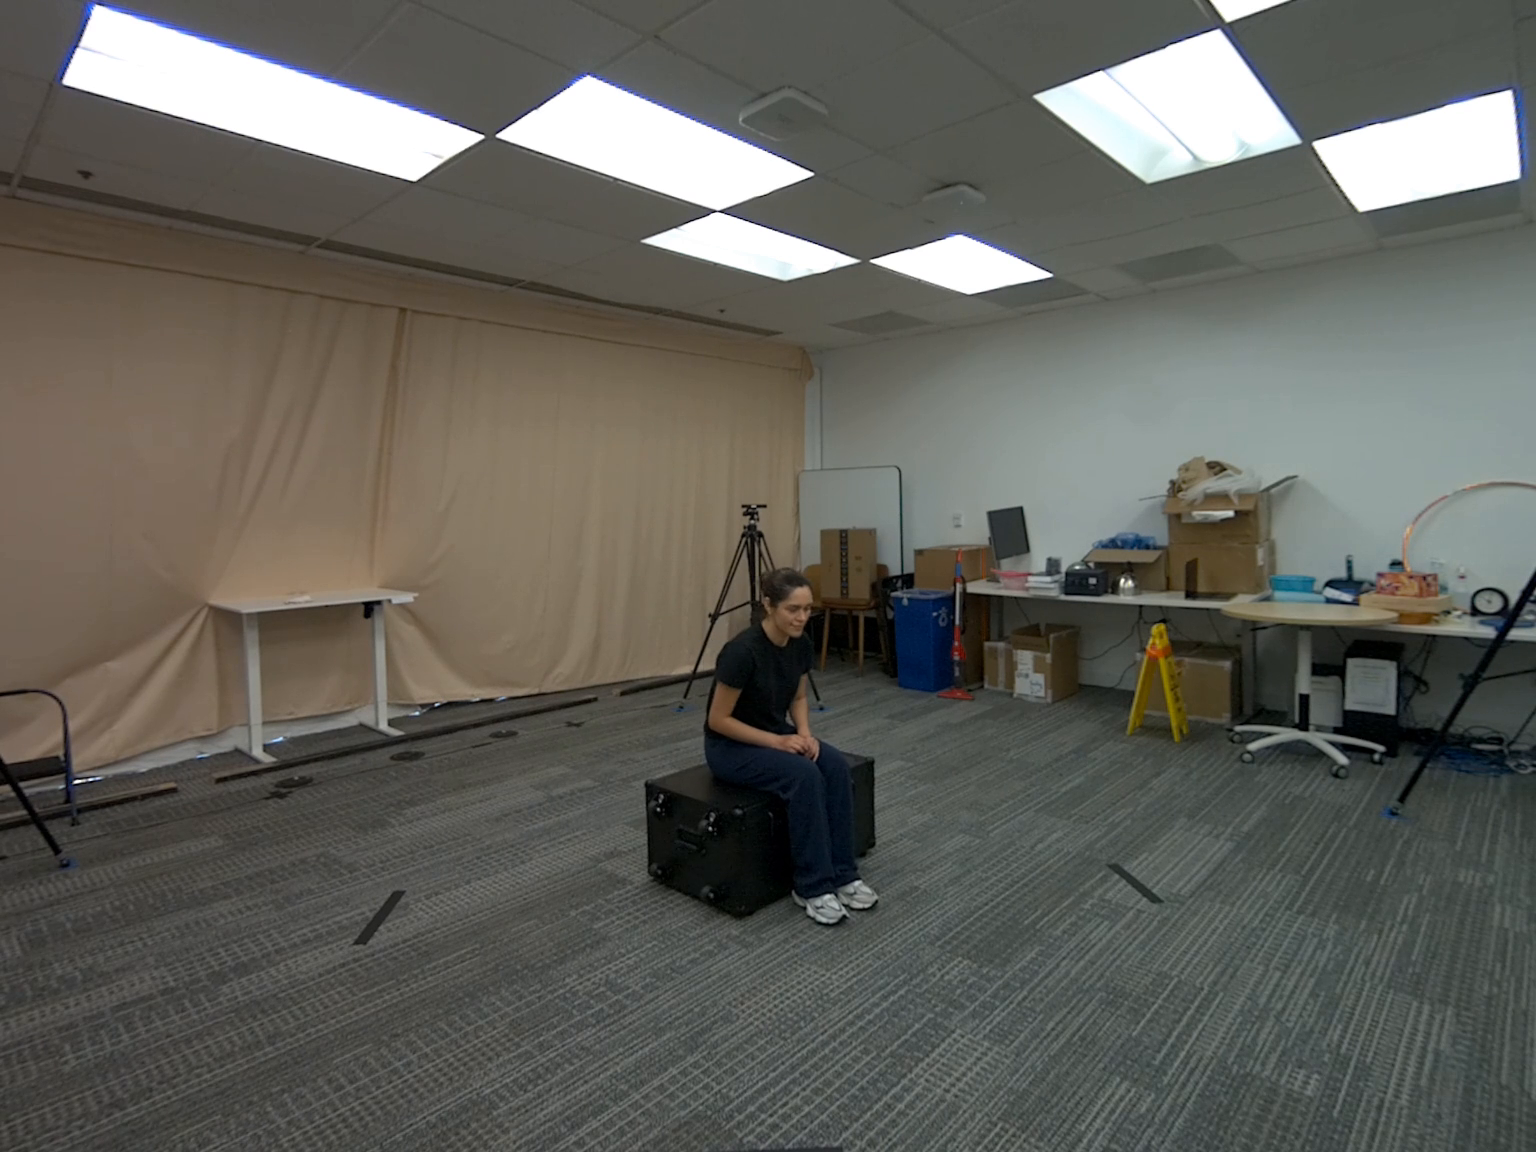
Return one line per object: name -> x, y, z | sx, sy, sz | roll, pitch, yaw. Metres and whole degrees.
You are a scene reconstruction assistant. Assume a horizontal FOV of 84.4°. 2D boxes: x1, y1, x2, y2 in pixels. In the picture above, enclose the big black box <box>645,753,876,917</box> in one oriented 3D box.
big black box -> -0.023, 0.932, 3.218 | 0.538, 0.395, 0.835 | 2, 5, 43
